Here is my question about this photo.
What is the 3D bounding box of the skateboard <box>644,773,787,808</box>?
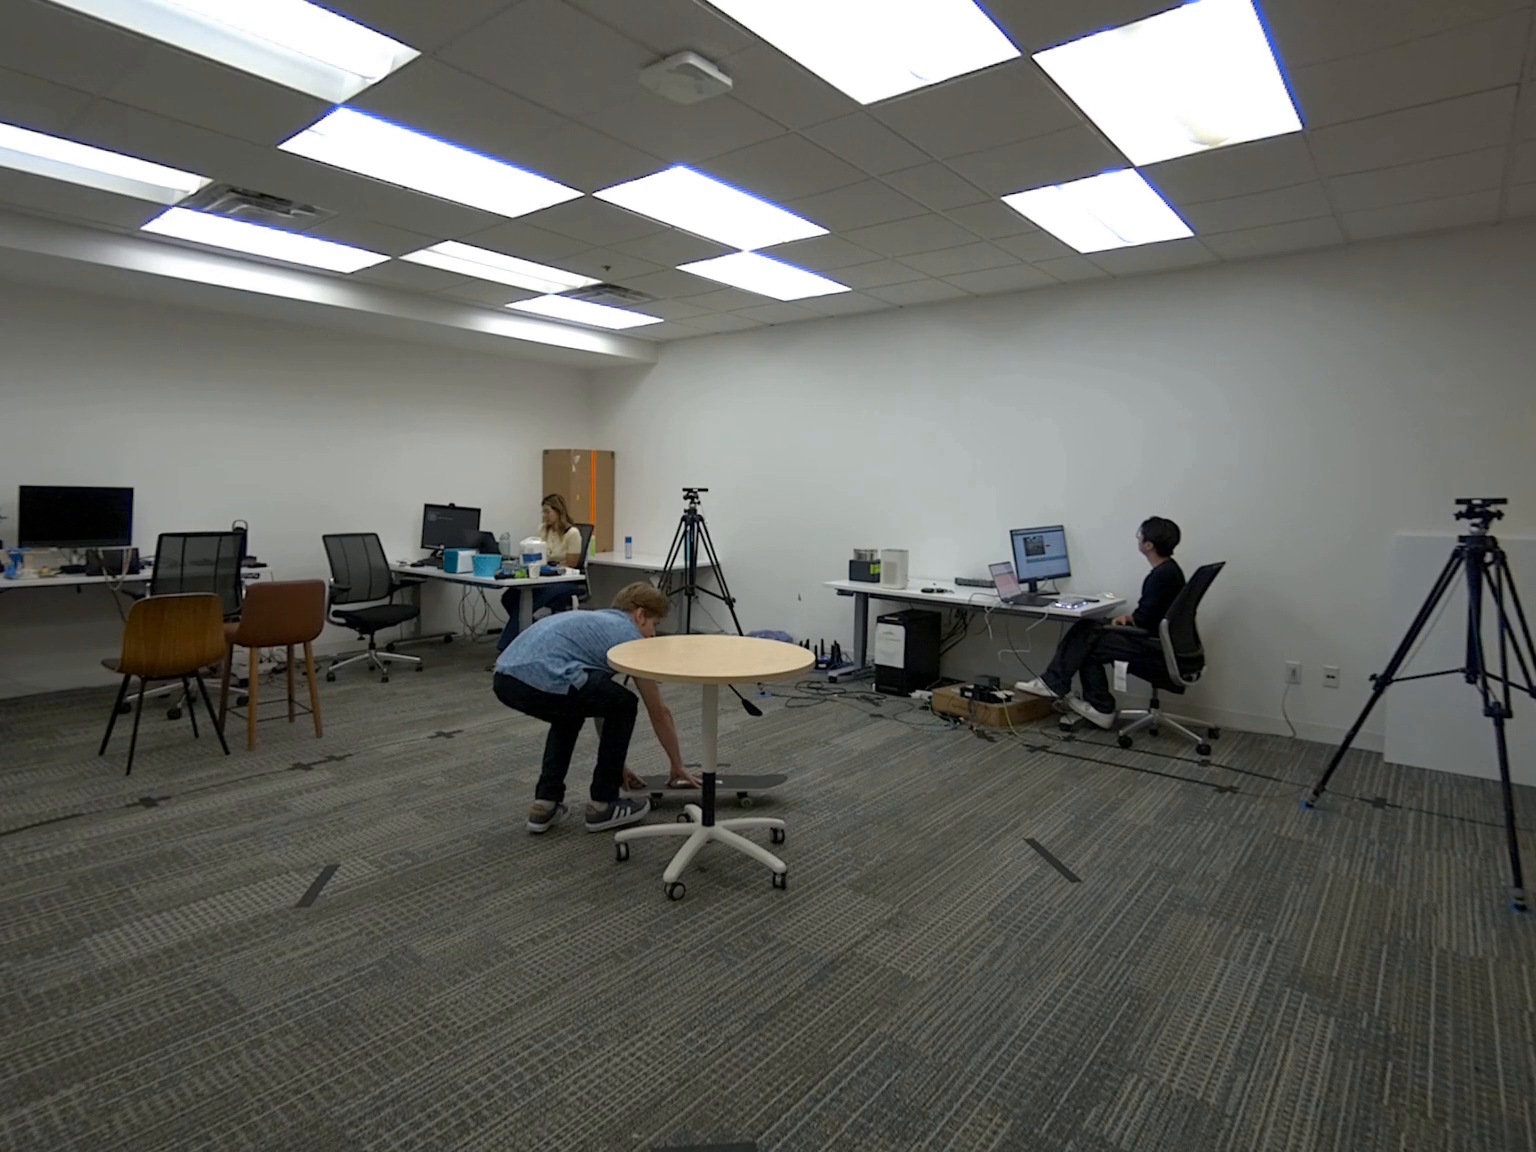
[{"bbox_3d":[-0.306,0.953,3.788,0.782,0.110,0.195,1,5,-4],"label":"skateboard"}]
